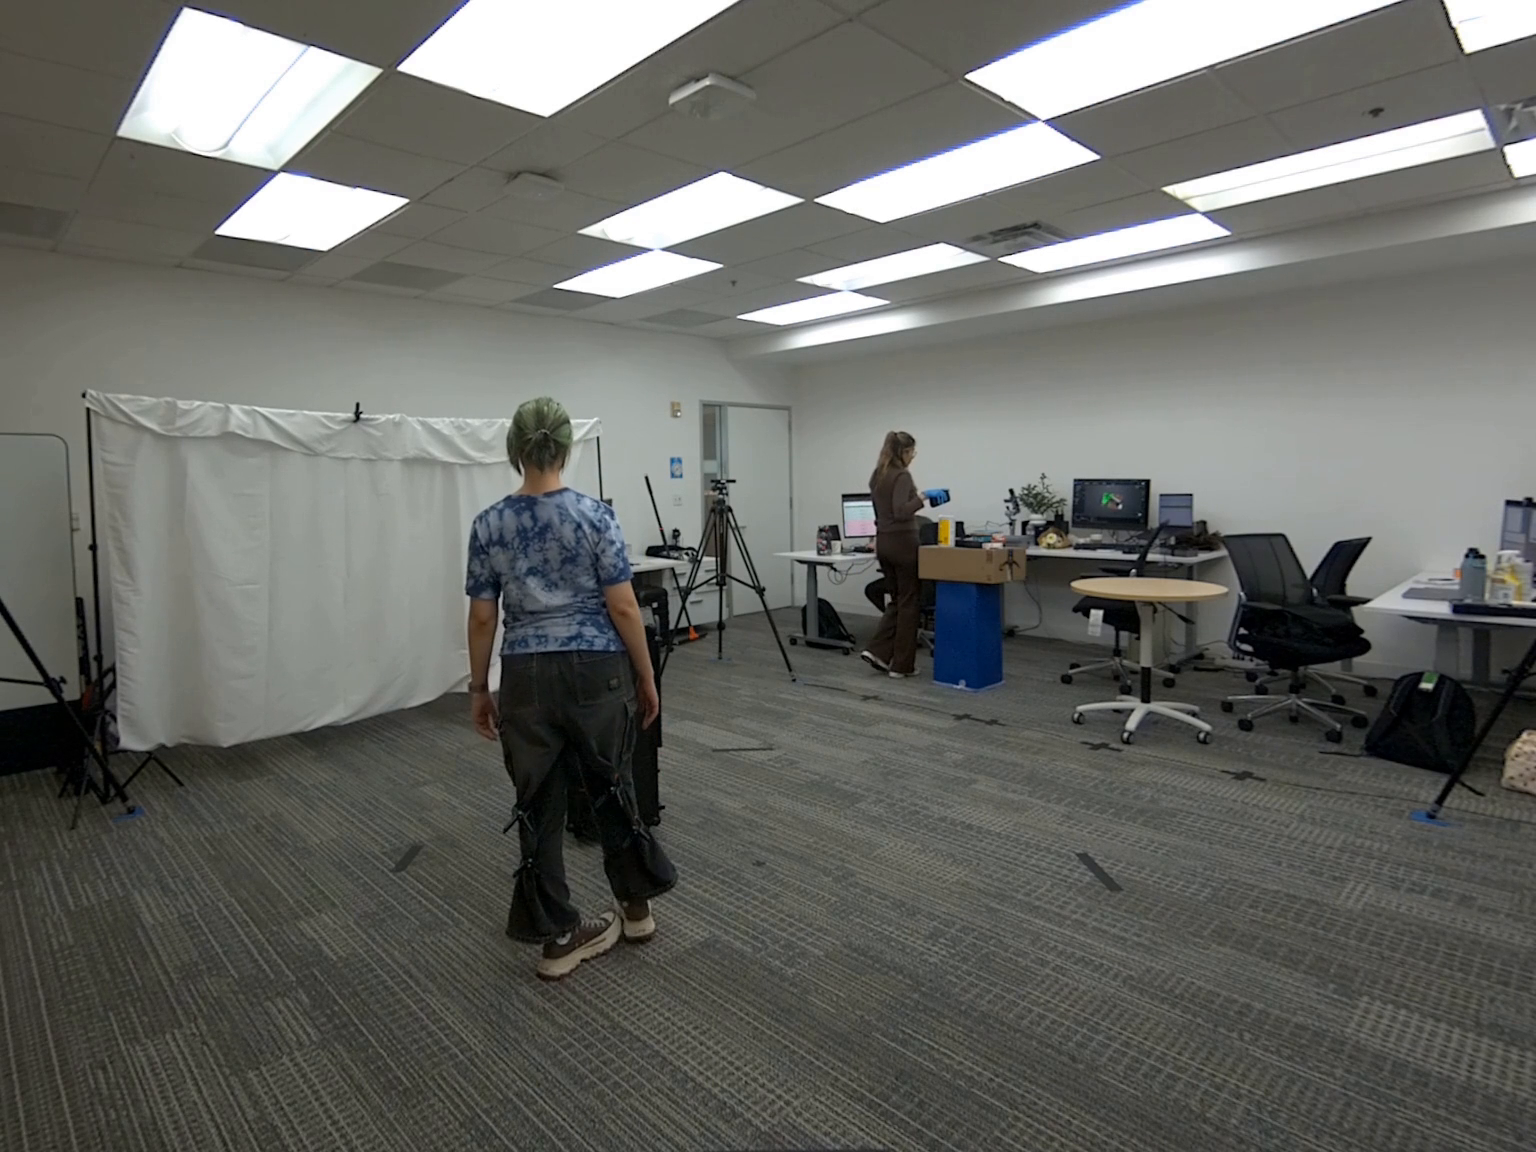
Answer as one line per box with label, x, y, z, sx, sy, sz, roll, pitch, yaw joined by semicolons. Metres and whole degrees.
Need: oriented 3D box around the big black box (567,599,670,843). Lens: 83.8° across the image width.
big black box;-0.630;0.596;3.499;0.394;0.859;0.526;-1;3;-8
